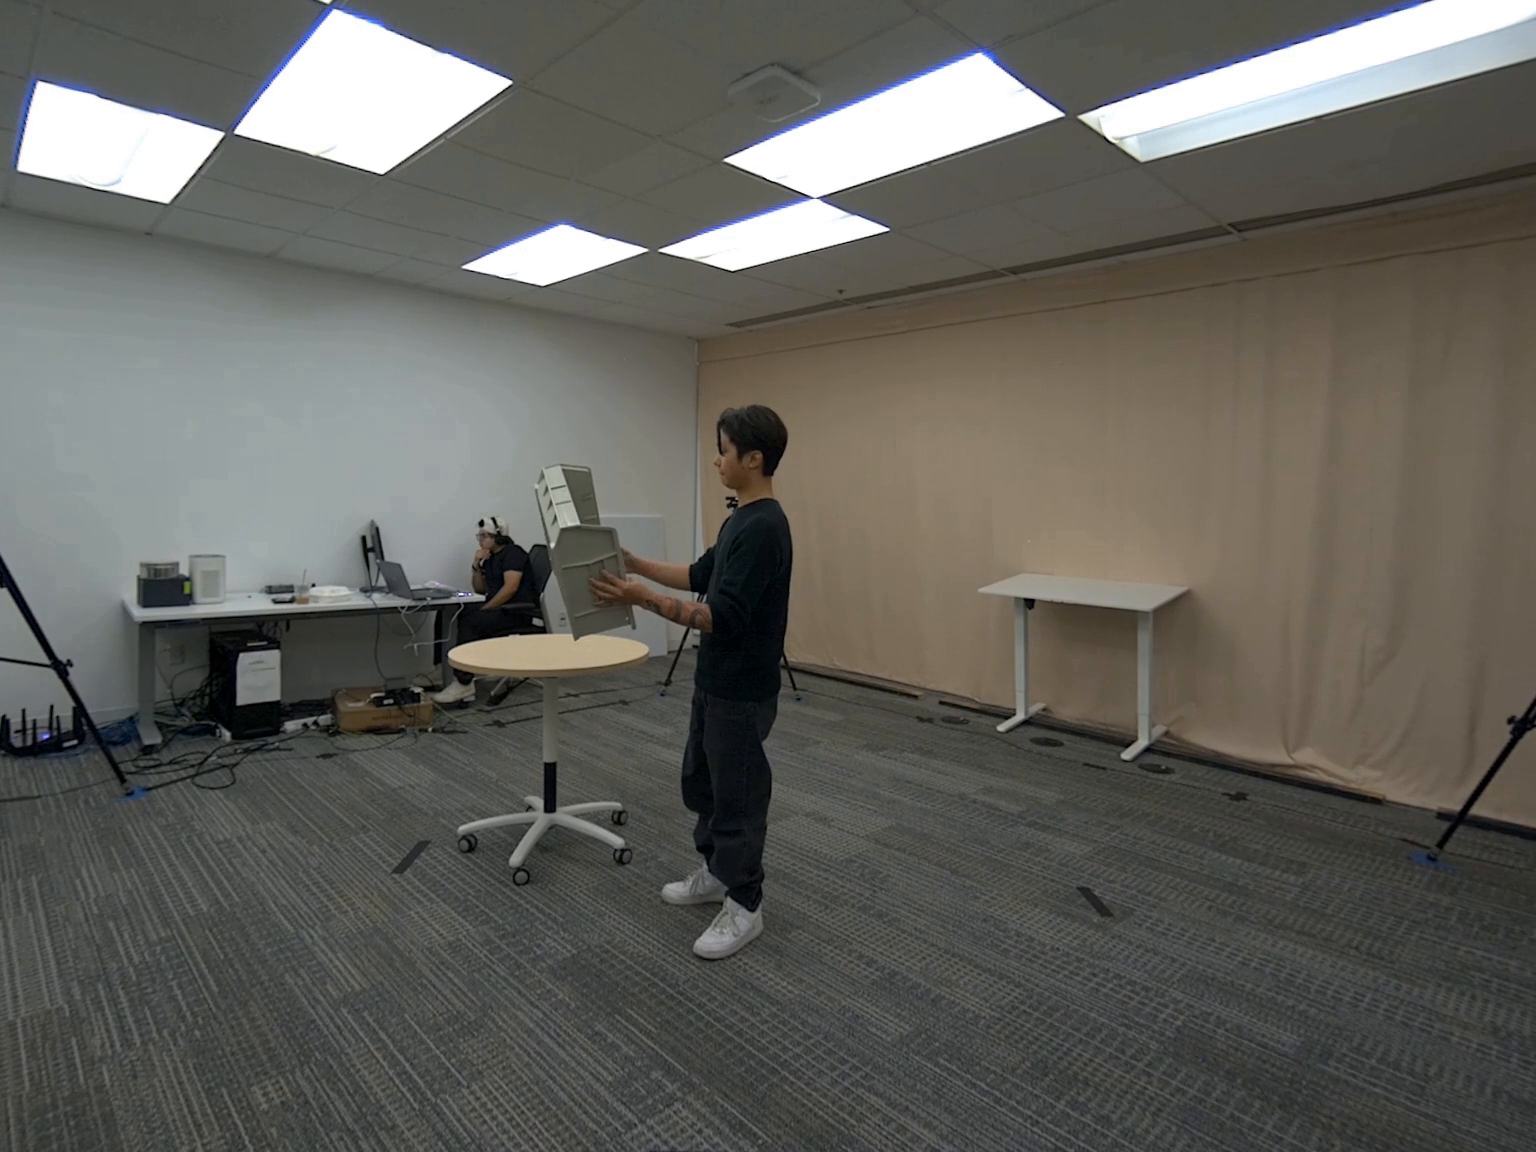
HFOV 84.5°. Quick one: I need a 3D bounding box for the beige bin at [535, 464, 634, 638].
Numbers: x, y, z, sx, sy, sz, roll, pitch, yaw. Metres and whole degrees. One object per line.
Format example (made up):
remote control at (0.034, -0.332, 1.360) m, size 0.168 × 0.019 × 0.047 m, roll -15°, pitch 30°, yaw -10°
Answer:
beige bin at (-0.556, -0.076, 2.480) m, size 0.187 × 0.369 × 0.435 m, roll -14°, pitch 34°, yaw -15°
